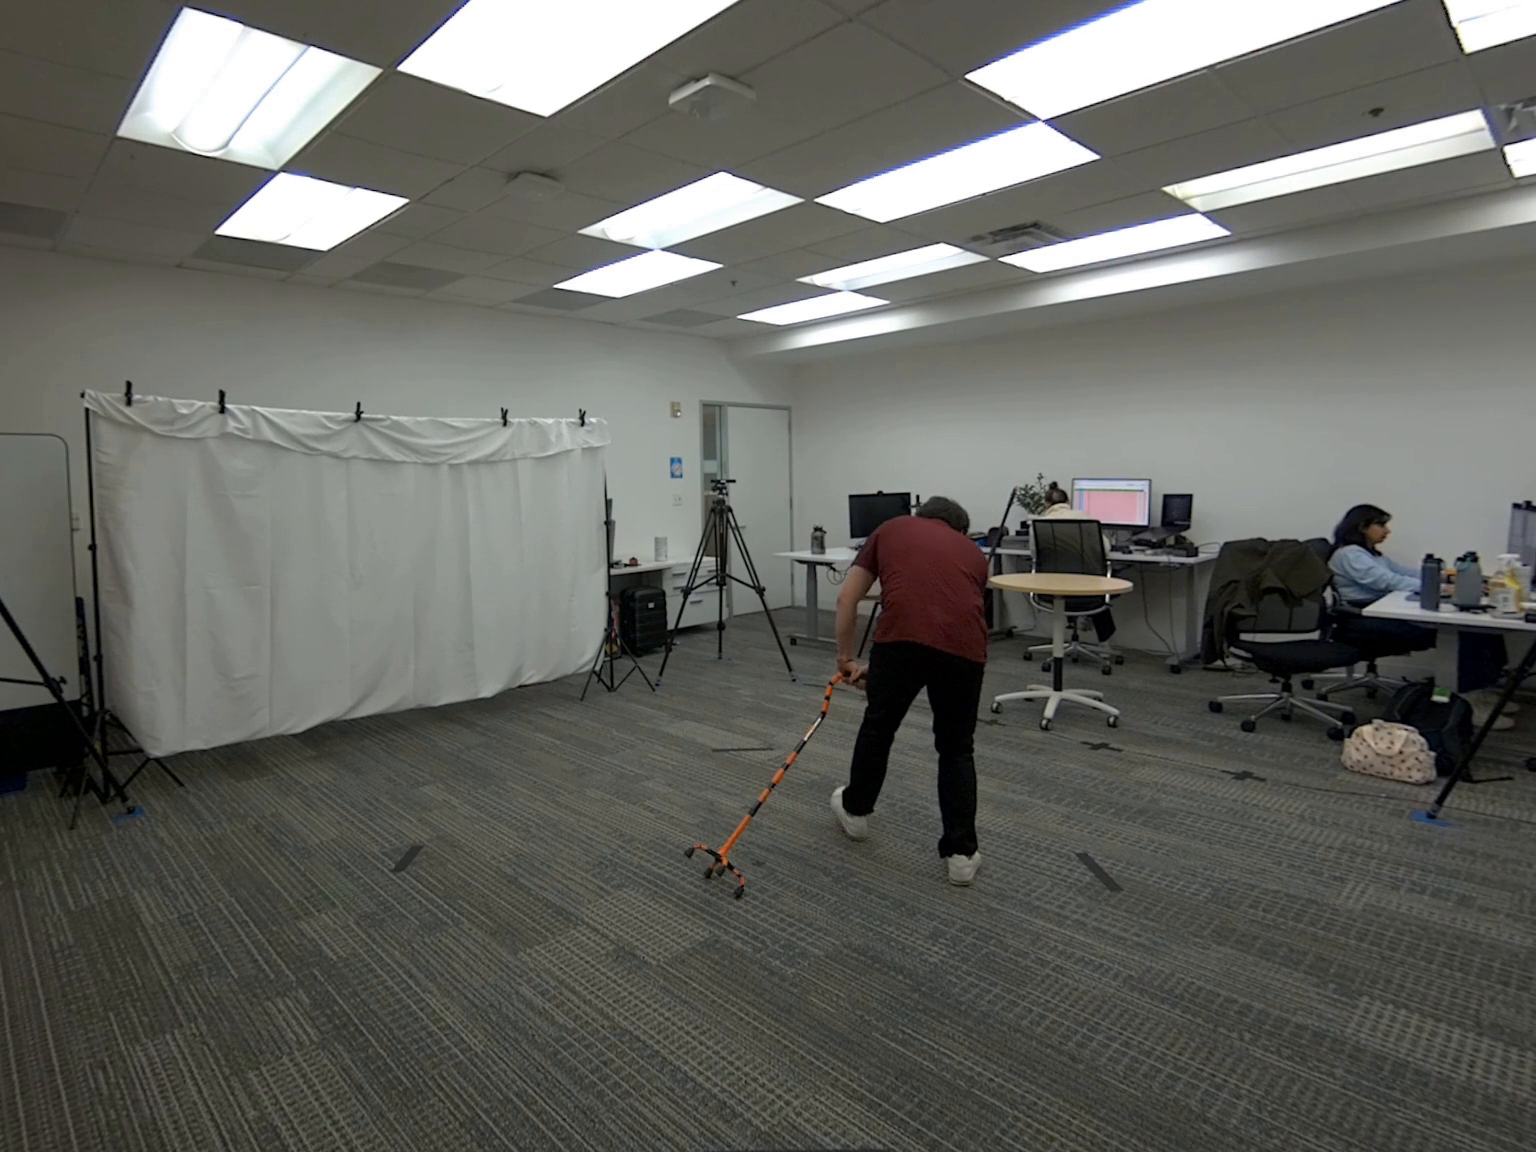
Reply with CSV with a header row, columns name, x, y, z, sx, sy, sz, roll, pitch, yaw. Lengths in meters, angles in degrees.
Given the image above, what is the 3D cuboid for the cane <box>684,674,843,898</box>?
name,x,y,z,sx,sy,sz,roll,pitch,yaw
cane,0.072,0.700,3.098,0.213,0.147,0.909,7,50,49
